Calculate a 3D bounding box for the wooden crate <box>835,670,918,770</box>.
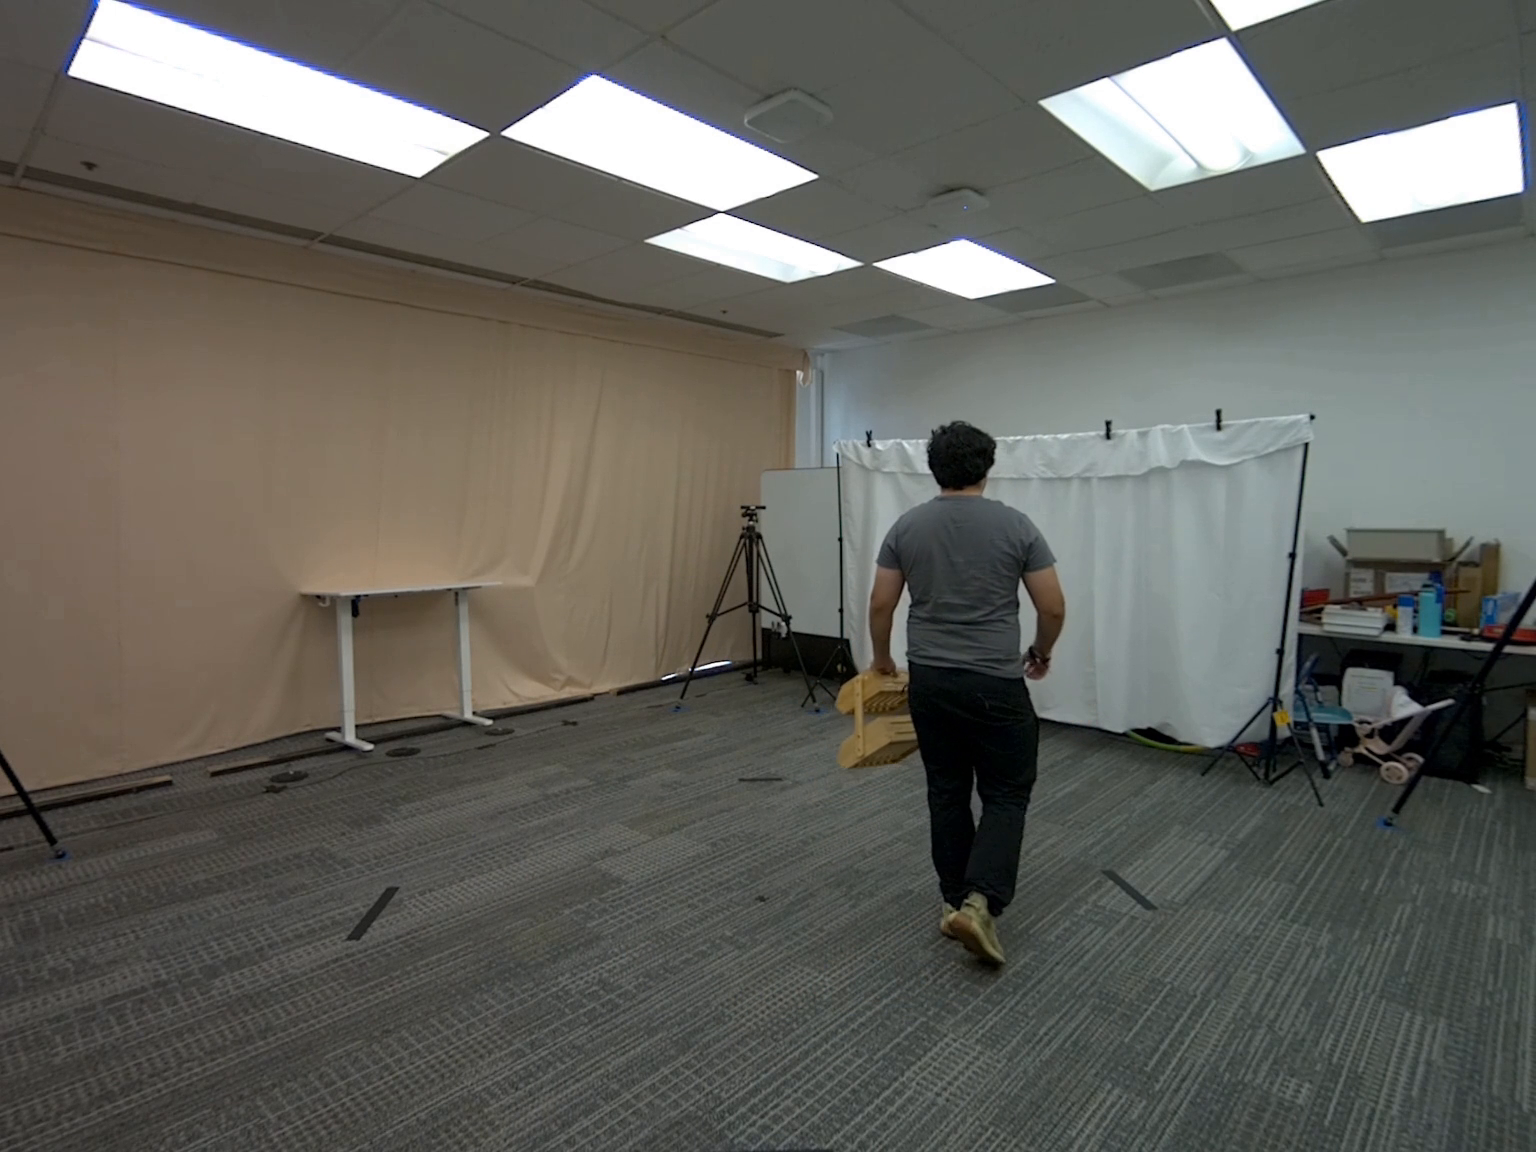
[{"bbox_3d":[0.416,0.514,3.075,0.313,0.280,0.305,6,-38,-43],"label":"wooden crate"}]
